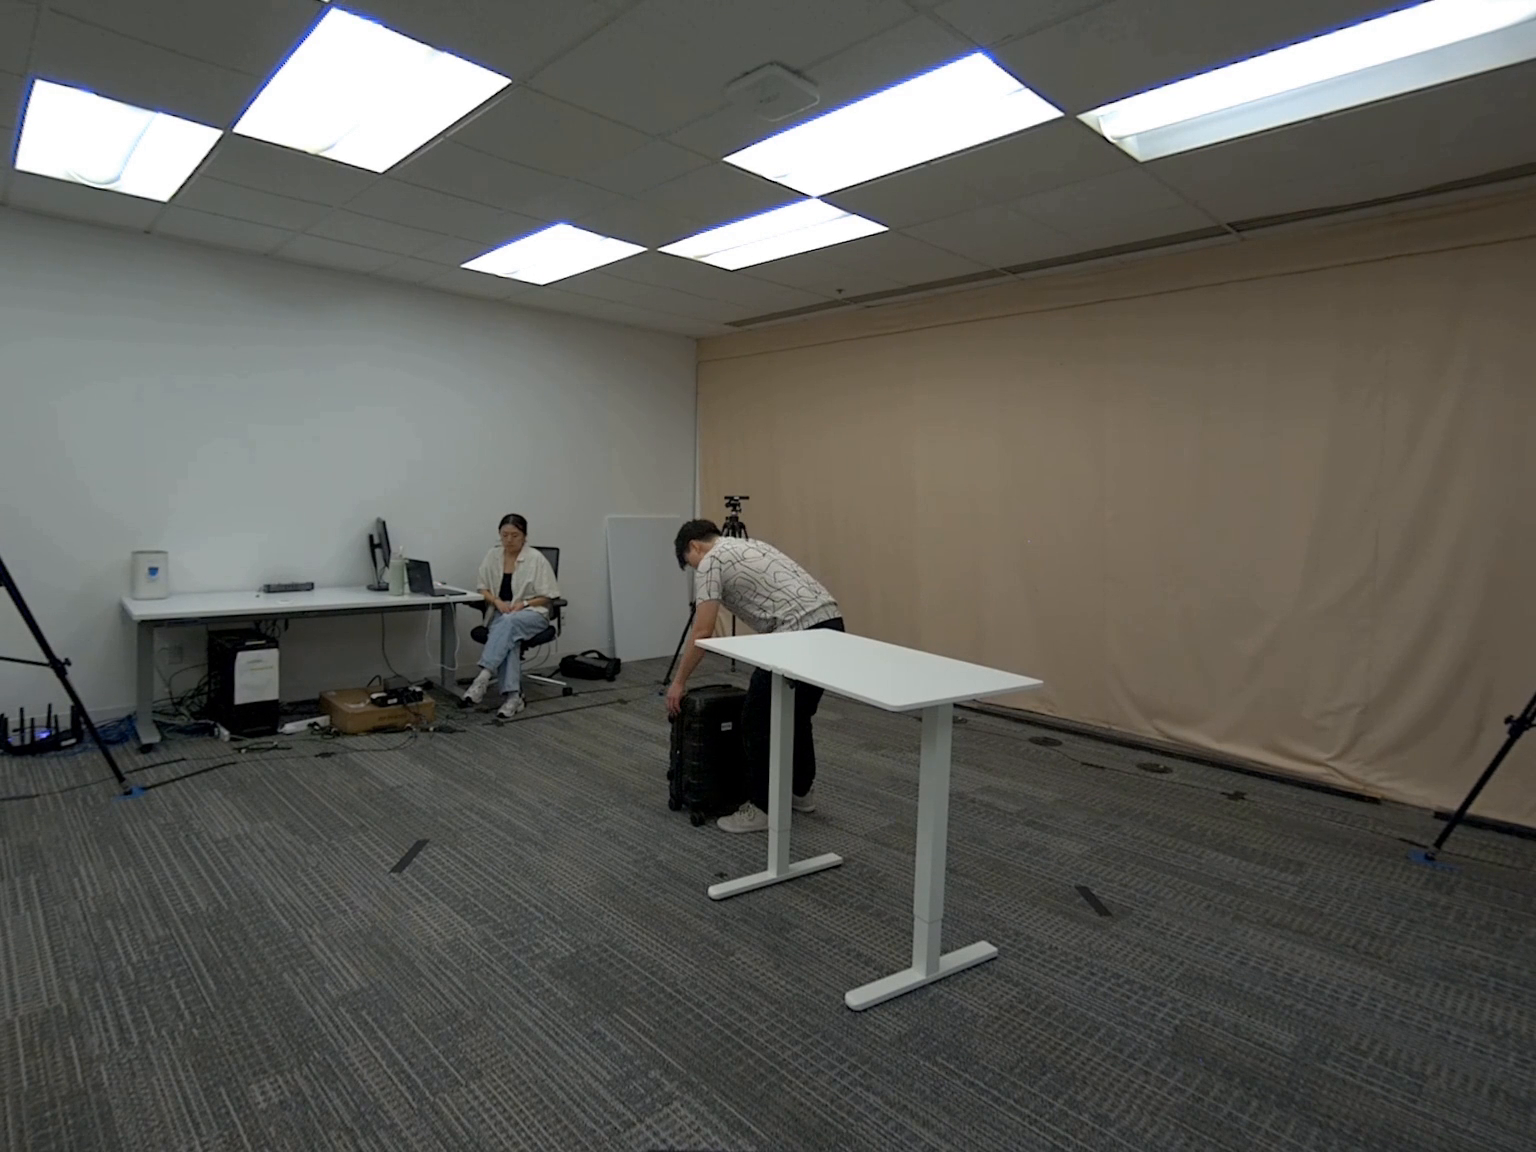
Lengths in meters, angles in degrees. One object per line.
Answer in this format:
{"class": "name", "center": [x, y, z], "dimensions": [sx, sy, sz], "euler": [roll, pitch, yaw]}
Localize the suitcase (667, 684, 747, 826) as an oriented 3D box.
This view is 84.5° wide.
{"class": "suitcase", "center": [-0.245, 0.767, 3.740], "dimensions": [0.368, 0.548, 0.254], "euler": [-1, 4, -32]}
